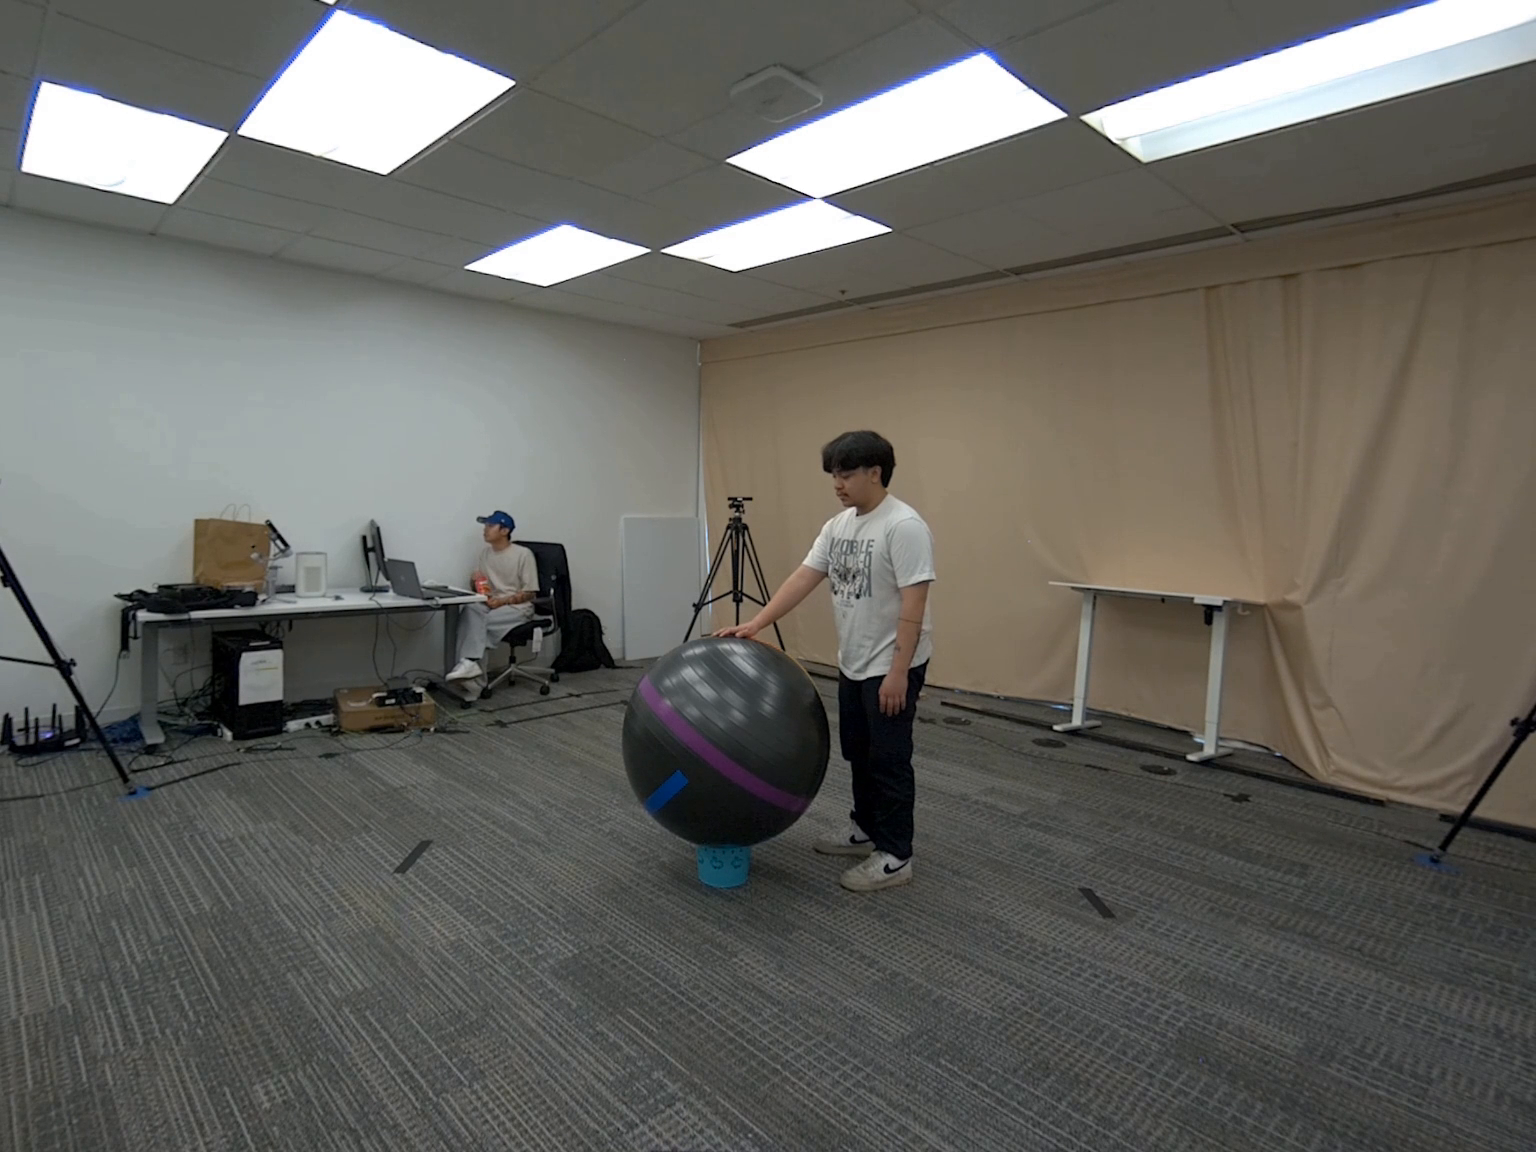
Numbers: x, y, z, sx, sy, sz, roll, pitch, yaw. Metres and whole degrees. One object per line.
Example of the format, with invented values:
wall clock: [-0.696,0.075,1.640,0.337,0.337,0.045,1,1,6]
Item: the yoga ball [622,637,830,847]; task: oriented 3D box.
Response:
yoga ball: [-0.162,0.601,3.091,0.757,0.756,0.761,1,4,-1]
